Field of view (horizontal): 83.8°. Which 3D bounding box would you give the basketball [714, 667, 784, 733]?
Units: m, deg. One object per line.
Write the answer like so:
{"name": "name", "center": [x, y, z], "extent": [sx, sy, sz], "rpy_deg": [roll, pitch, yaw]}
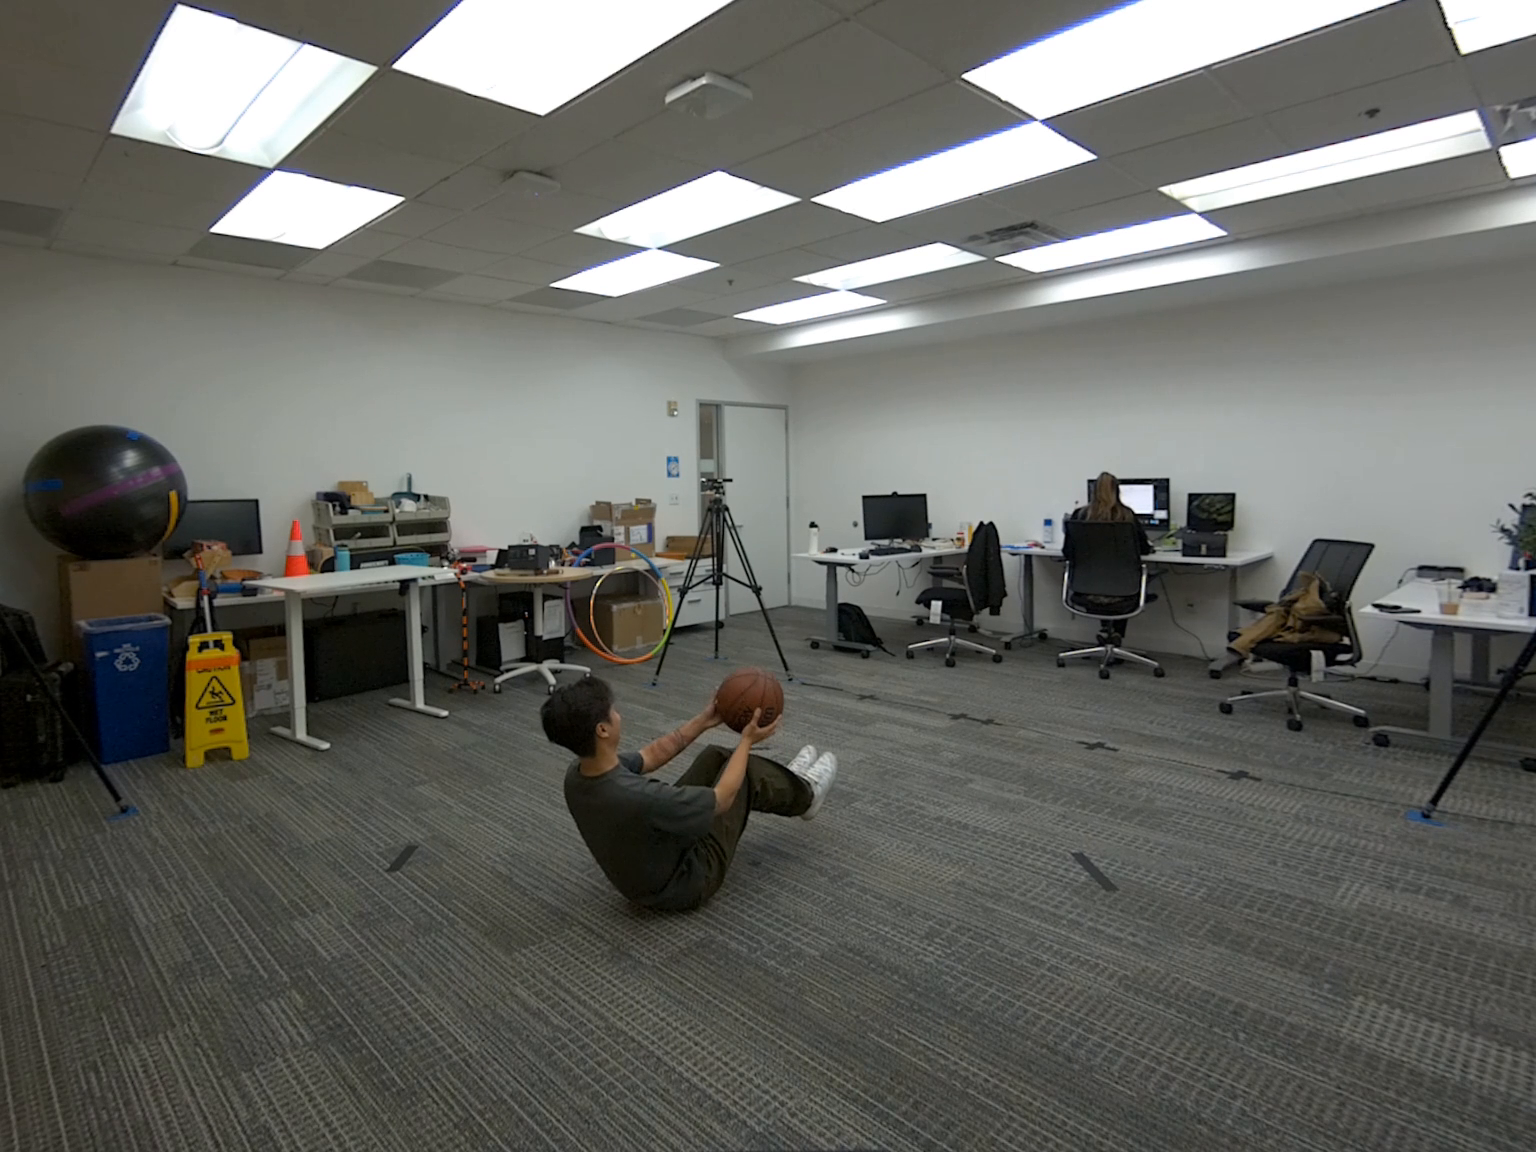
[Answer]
{"name": "basketball", "center": [-0.057, 0.447, 3.021], "extent": [0.236, 0.235, 0.237], "rpy_deg": [-1, 5, -2]}
